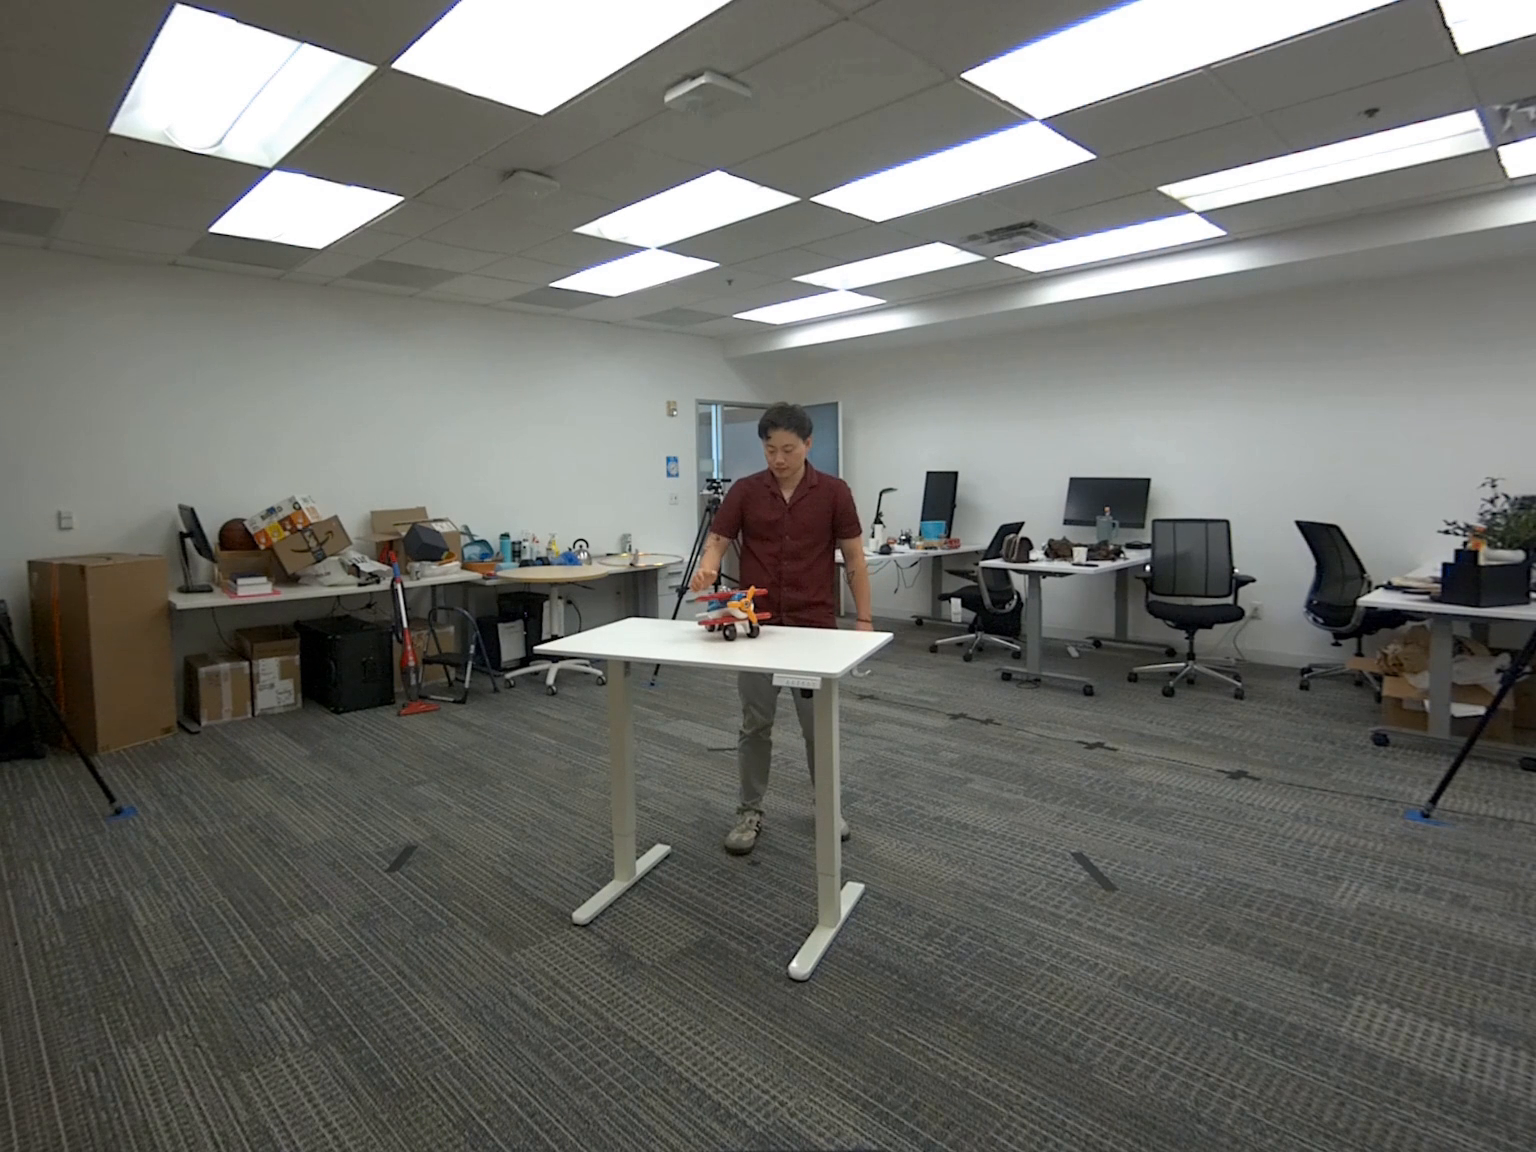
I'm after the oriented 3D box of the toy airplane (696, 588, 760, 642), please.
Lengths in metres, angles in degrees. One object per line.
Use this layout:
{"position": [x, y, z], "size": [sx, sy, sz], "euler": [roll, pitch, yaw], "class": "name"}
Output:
{"position": [-0.143, 0.121, 2.809], "size": [0.266, 0.156, 0.245], "euler": [3, 7, 32], "class": "toy airplane"}
